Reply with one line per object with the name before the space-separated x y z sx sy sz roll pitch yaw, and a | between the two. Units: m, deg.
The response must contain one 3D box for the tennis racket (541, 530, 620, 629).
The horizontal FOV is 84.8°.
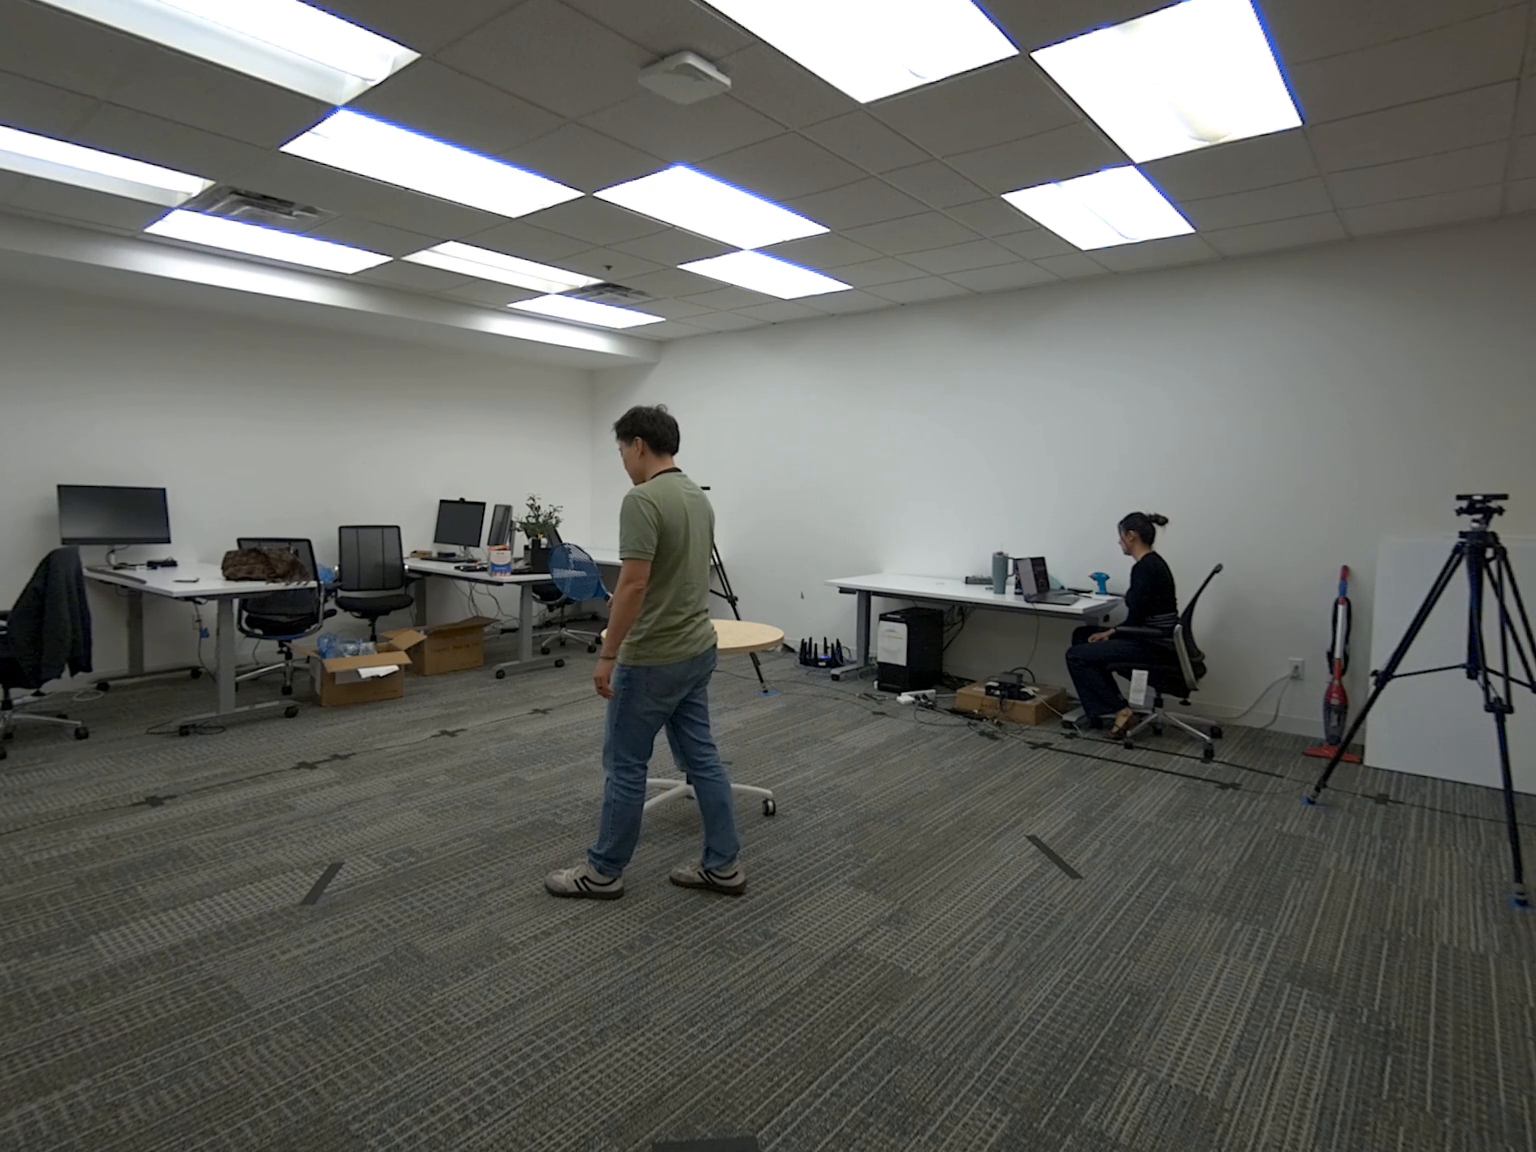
tennis racket | -0.686 0.025 3.249 0.447 0.212 0.031 35 22 23
